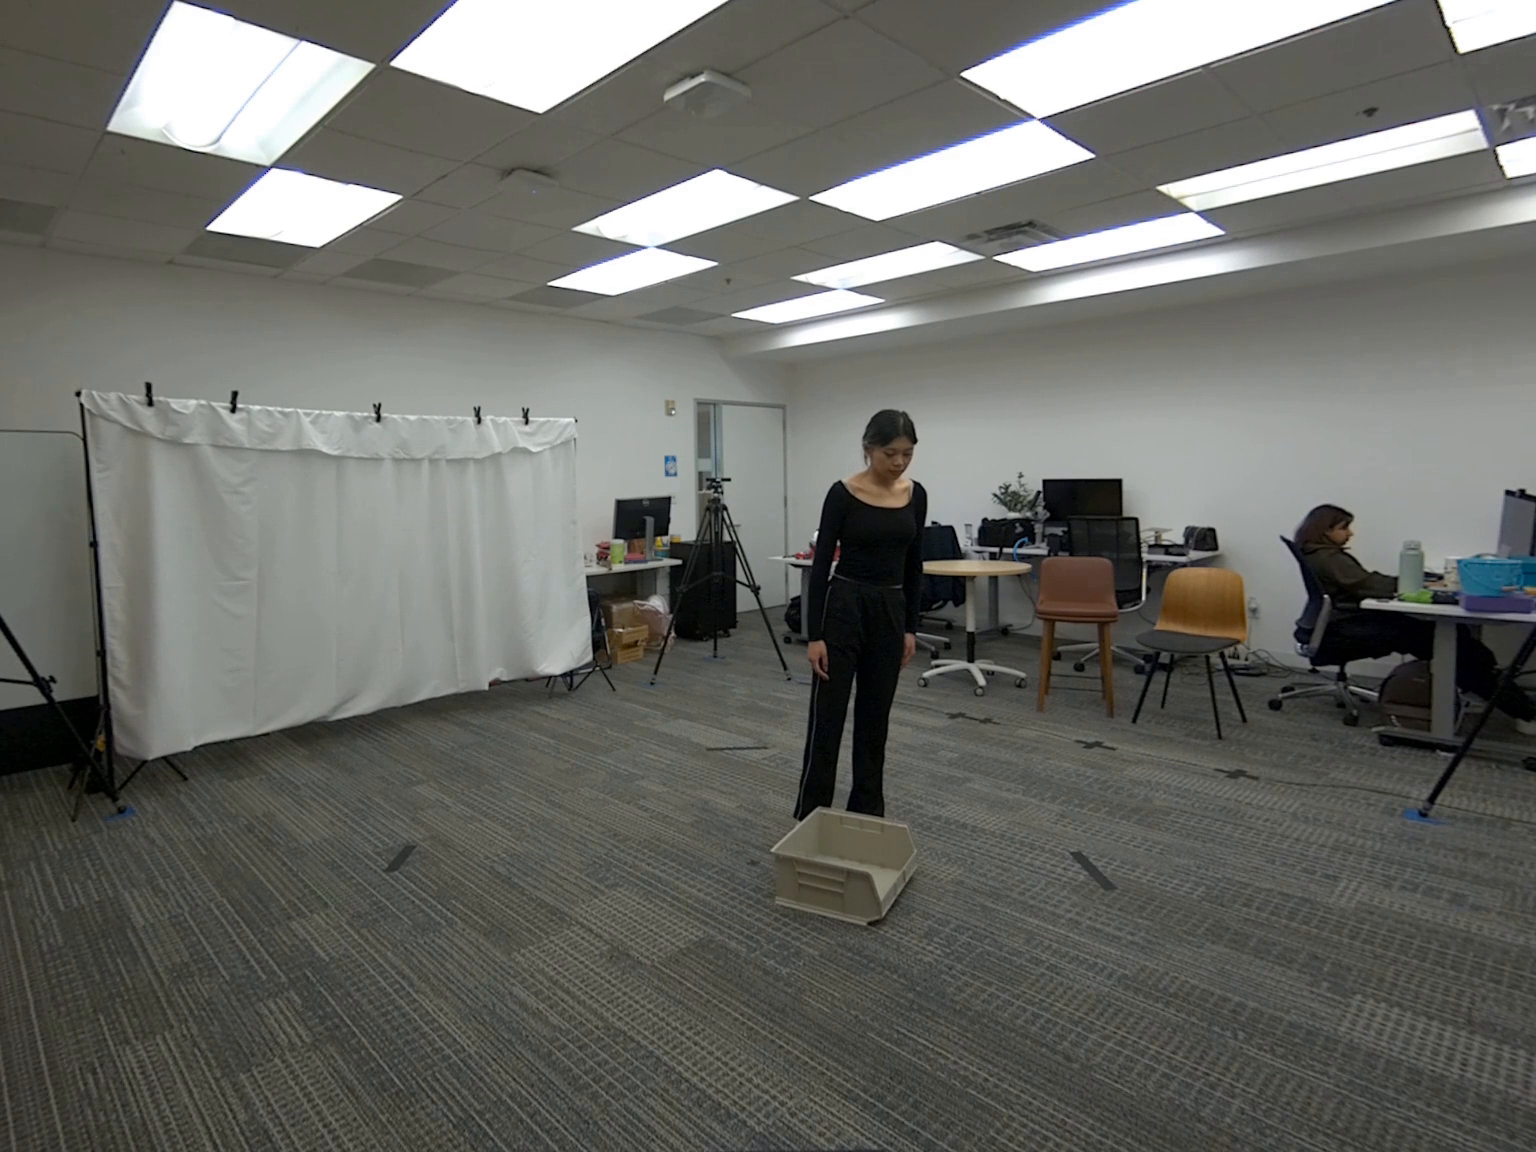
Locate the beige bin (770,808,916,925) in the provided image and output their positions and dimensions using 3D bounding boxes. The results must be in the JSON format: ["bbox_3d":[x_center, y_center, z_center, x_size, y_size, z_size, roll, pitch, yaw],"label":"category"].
[{"bbox_3d":[0.271,0.973,2.889,0.387,0.188,0.414,1,6,27],"label":"beige bin"}]
